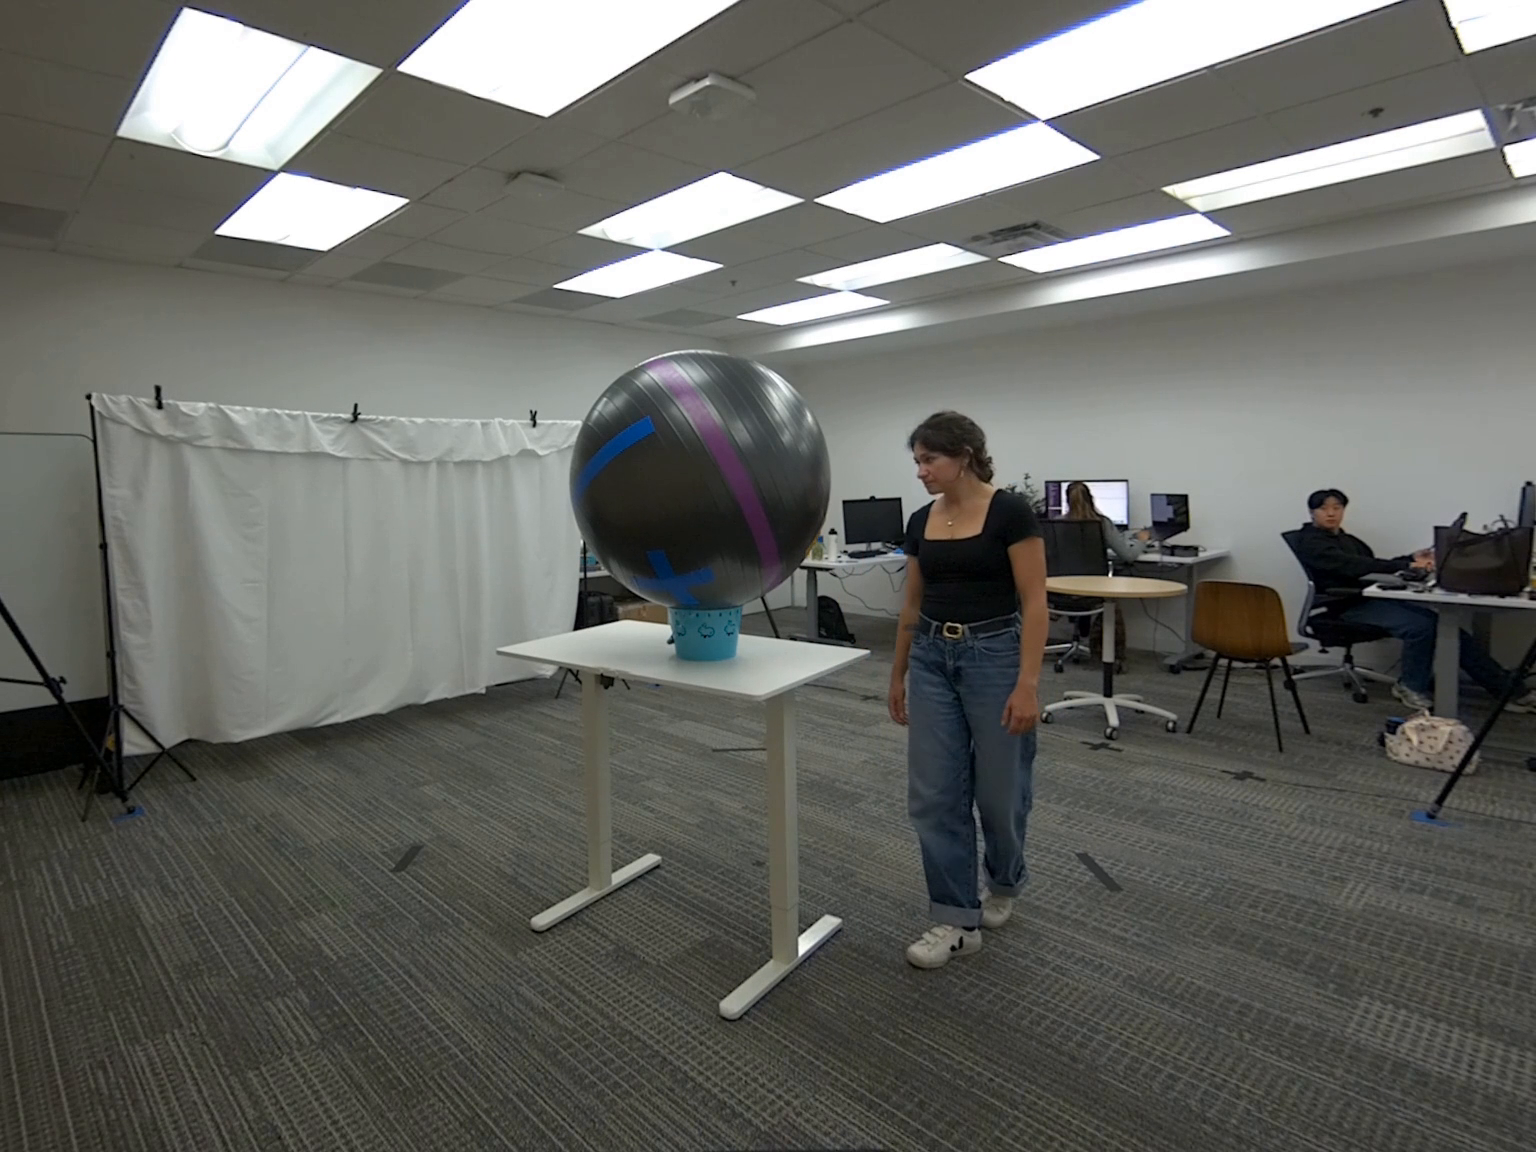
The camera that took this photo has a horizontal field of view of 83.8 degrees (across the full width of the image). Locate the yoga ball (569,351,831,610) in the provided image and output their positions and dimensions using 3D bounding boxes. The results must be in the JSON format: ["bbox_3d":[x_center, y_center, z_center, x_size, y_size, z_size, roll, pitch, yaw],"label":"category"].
[{"bbox_3d":[-0.195,-0.273,2.505,0.757,0.755,0.762,-1,5,-2],"label":"yoga ball"}]
